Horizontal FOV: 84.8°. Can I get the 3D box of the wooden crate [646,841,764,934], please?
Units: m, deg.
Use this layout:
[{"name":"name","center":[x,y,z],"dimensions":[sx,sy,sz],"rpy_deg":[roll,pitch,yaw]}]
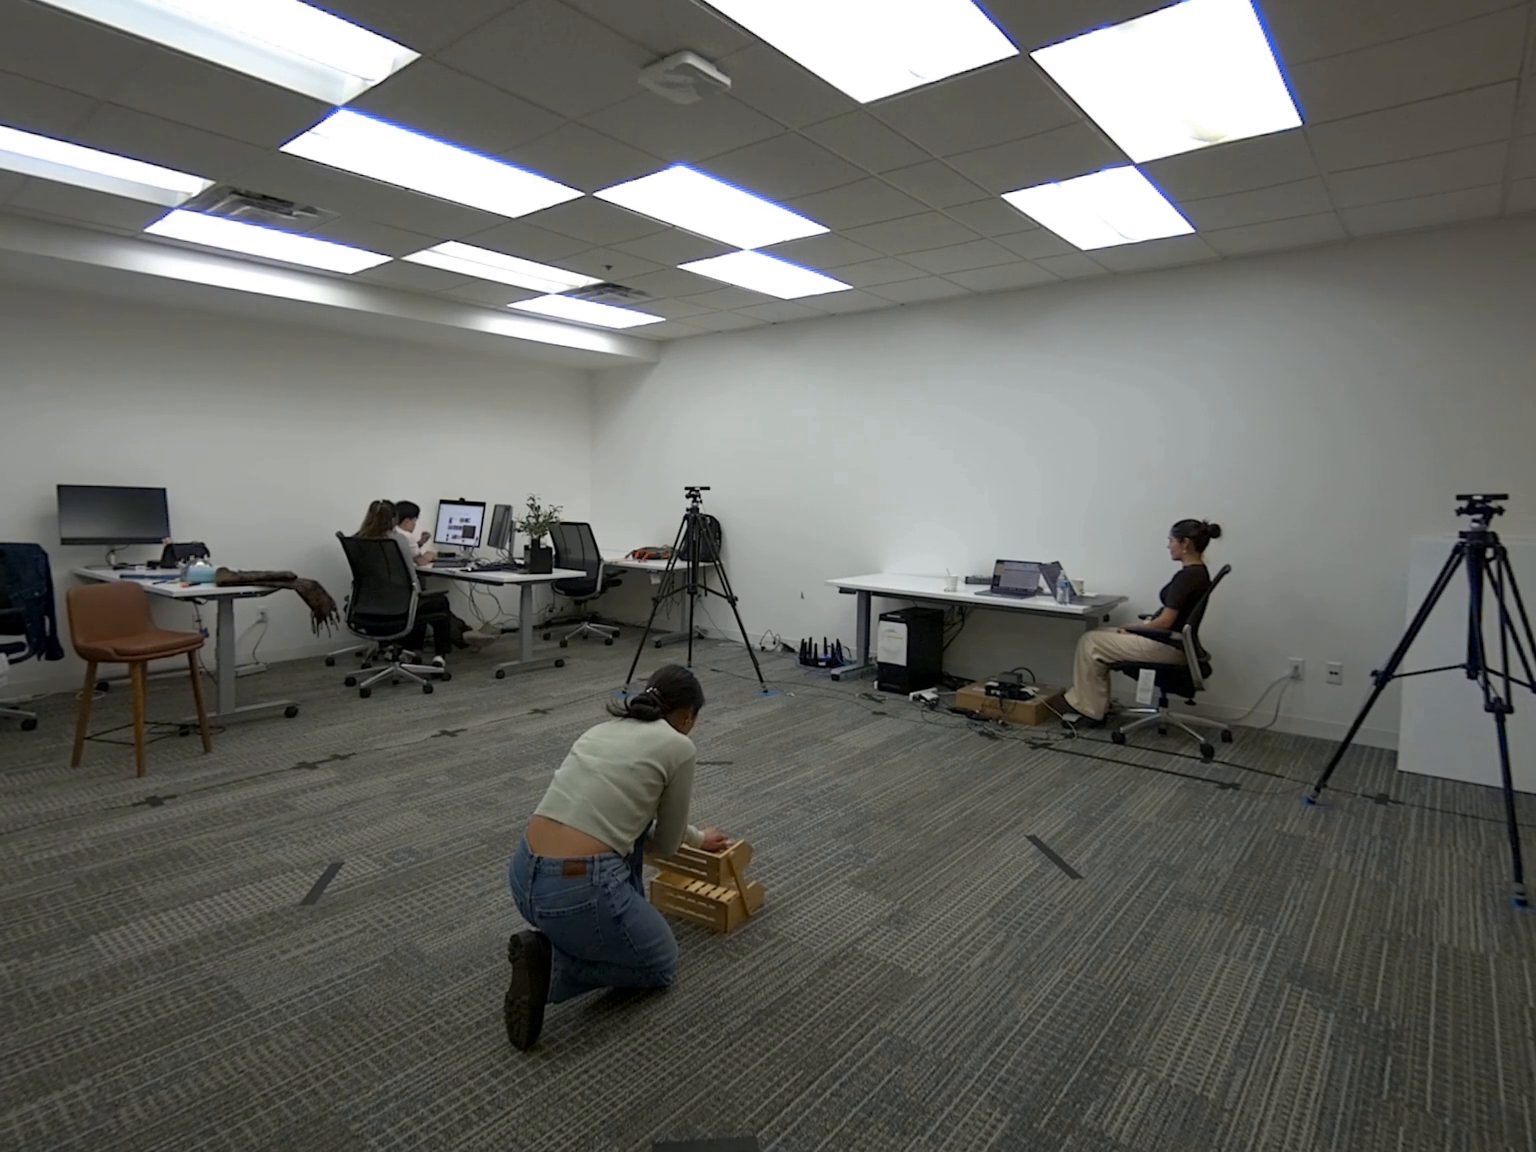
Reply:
[{"name":"wooden crate","center":[-0.219,0.956,2.805],"dimensions":[0.334,0.272,0.294],"rpy_deg":[2,5,30]}]
